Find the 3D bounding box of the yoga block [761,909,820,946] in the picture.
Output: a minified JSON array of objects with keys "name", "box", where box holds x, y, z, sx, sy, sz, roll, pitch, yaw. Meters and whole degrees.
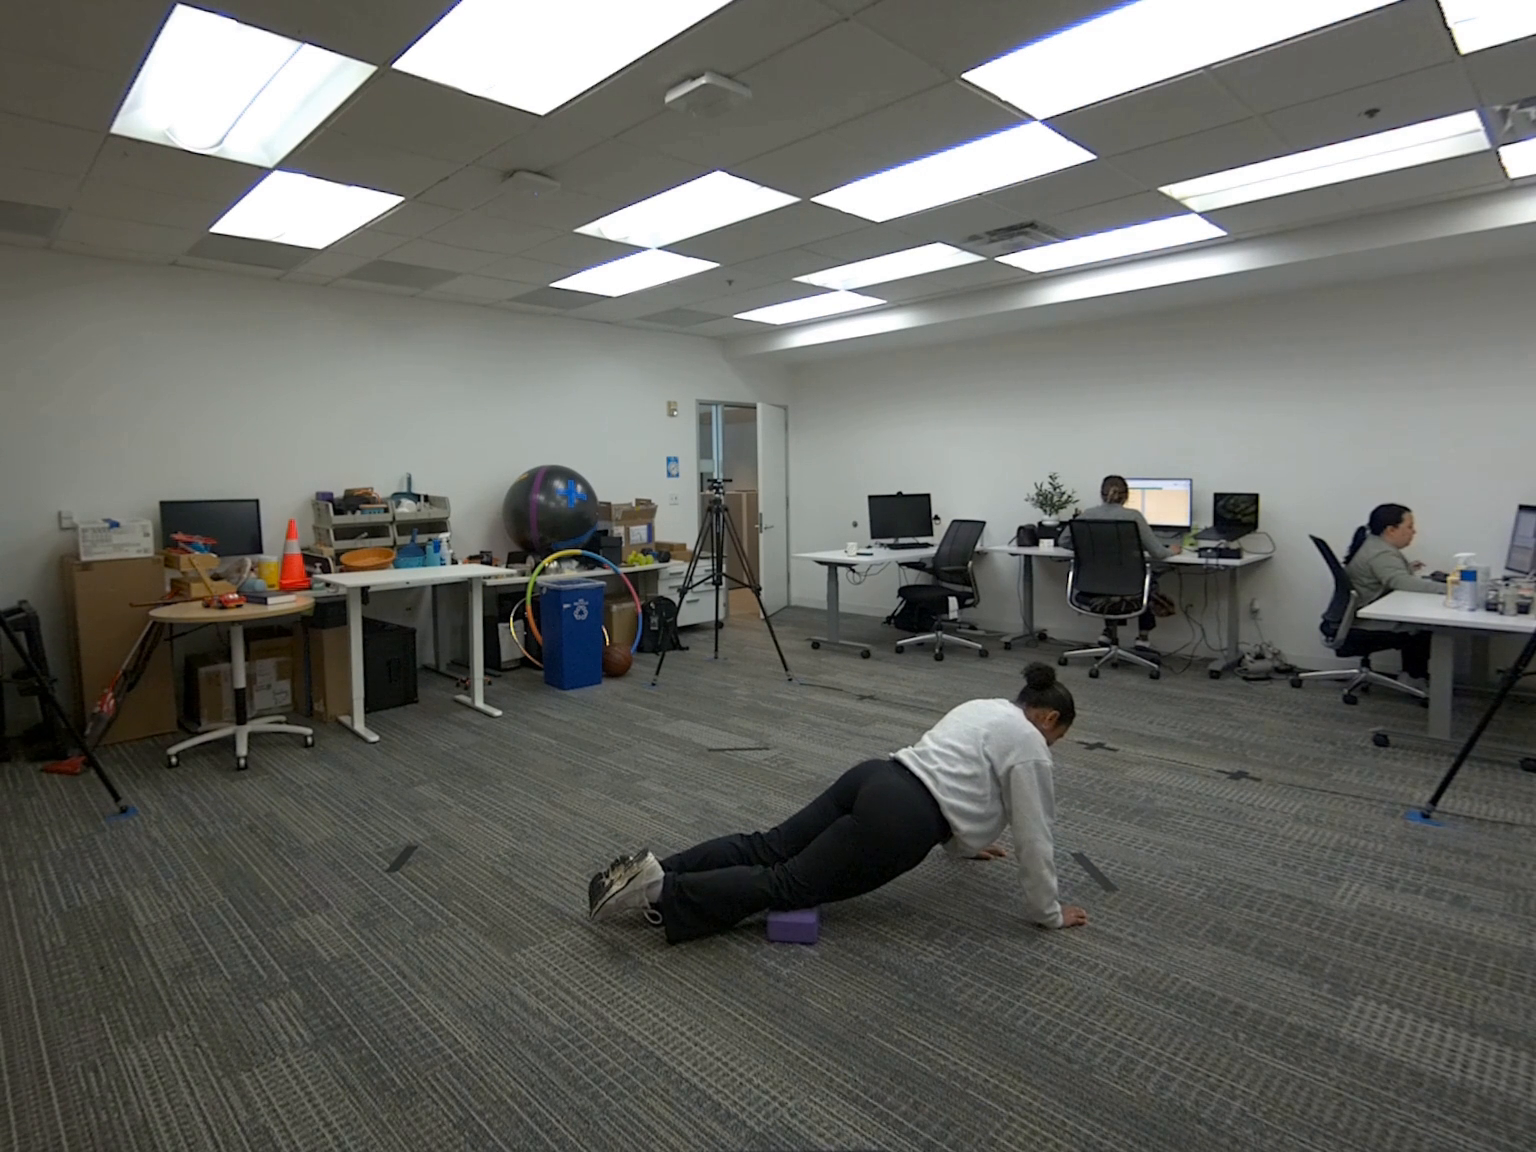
[{"name":"yoga block","box":[0.080,1.041,2.678,0.150,0.076,0.228,-2,5,8]}]
